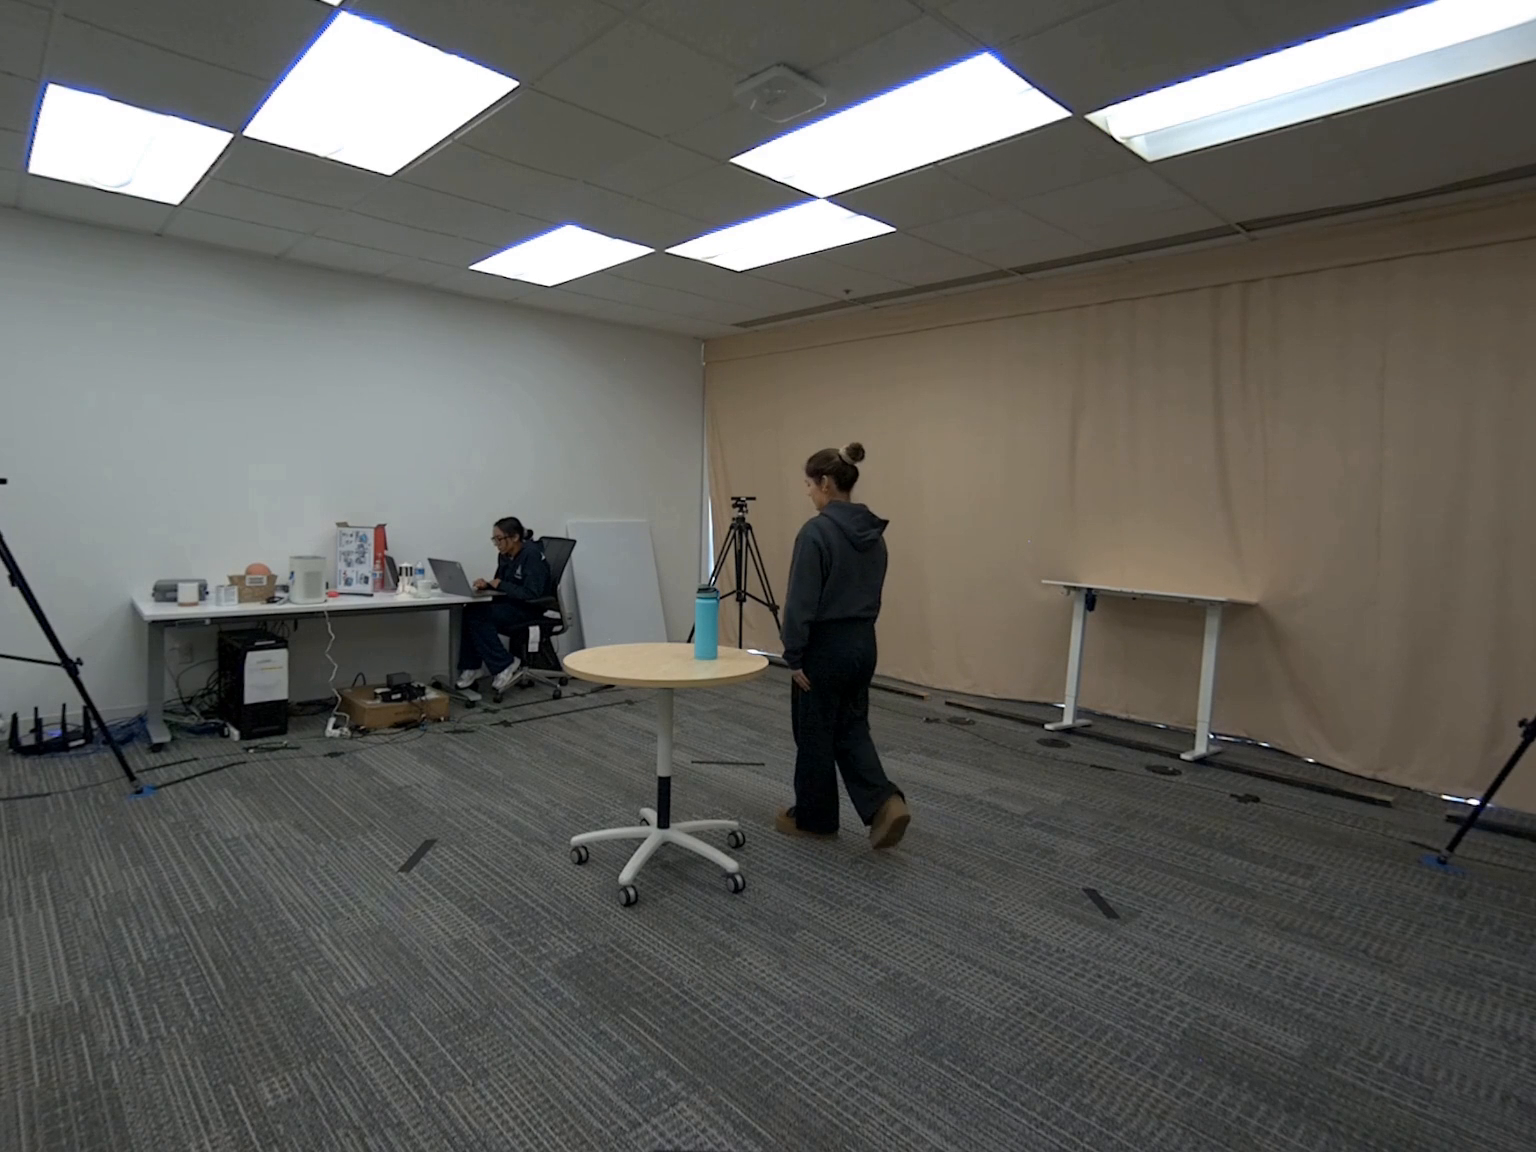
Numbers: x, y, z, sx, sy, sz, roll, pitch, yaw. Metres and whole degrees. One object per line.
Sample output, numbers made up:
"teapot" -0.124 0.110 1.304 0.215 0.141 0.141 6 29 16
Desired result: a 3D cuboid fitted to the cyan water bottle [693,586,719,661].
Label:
"cyan water bottle" -0.238 0.172 3.211 0.092 0.283 0.092 3 3 -2
